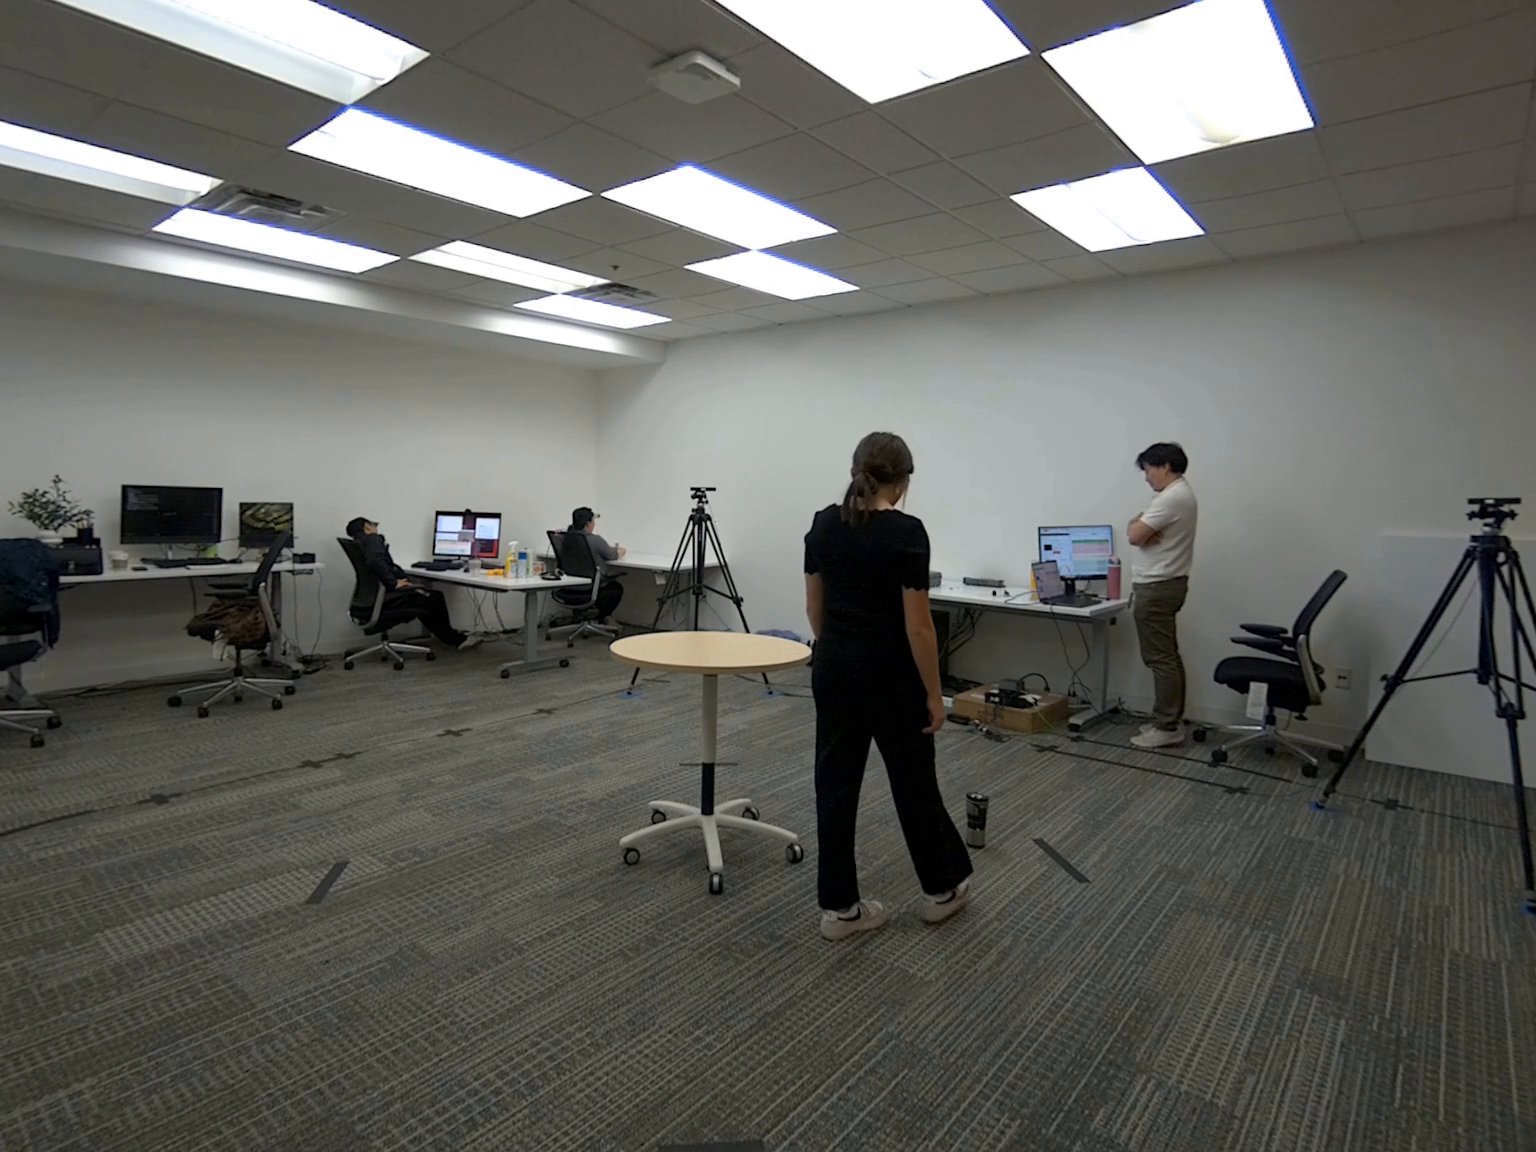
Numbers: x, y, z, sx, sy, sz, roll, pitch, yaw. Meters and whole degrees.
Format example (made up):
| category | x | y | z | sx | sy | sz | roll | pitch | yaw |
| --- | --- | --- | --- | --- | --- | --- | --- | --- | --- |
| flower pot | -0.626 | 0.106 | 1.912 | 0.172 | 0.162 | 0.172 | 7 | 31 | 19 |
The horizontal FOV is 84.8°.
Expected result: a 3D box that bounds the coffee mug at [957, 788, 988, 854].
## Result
| category | x | y | z | sx | sy | sz | roll | pitch | yaw |
| --- | --- | --- | --- | --- | --- | --- | --- | --- | --- |
| coffee mug | 0.807 | 0.967 | 3.339 | 0.090 | 0.202 | 0.119 | 6 | 4 | 21 |
